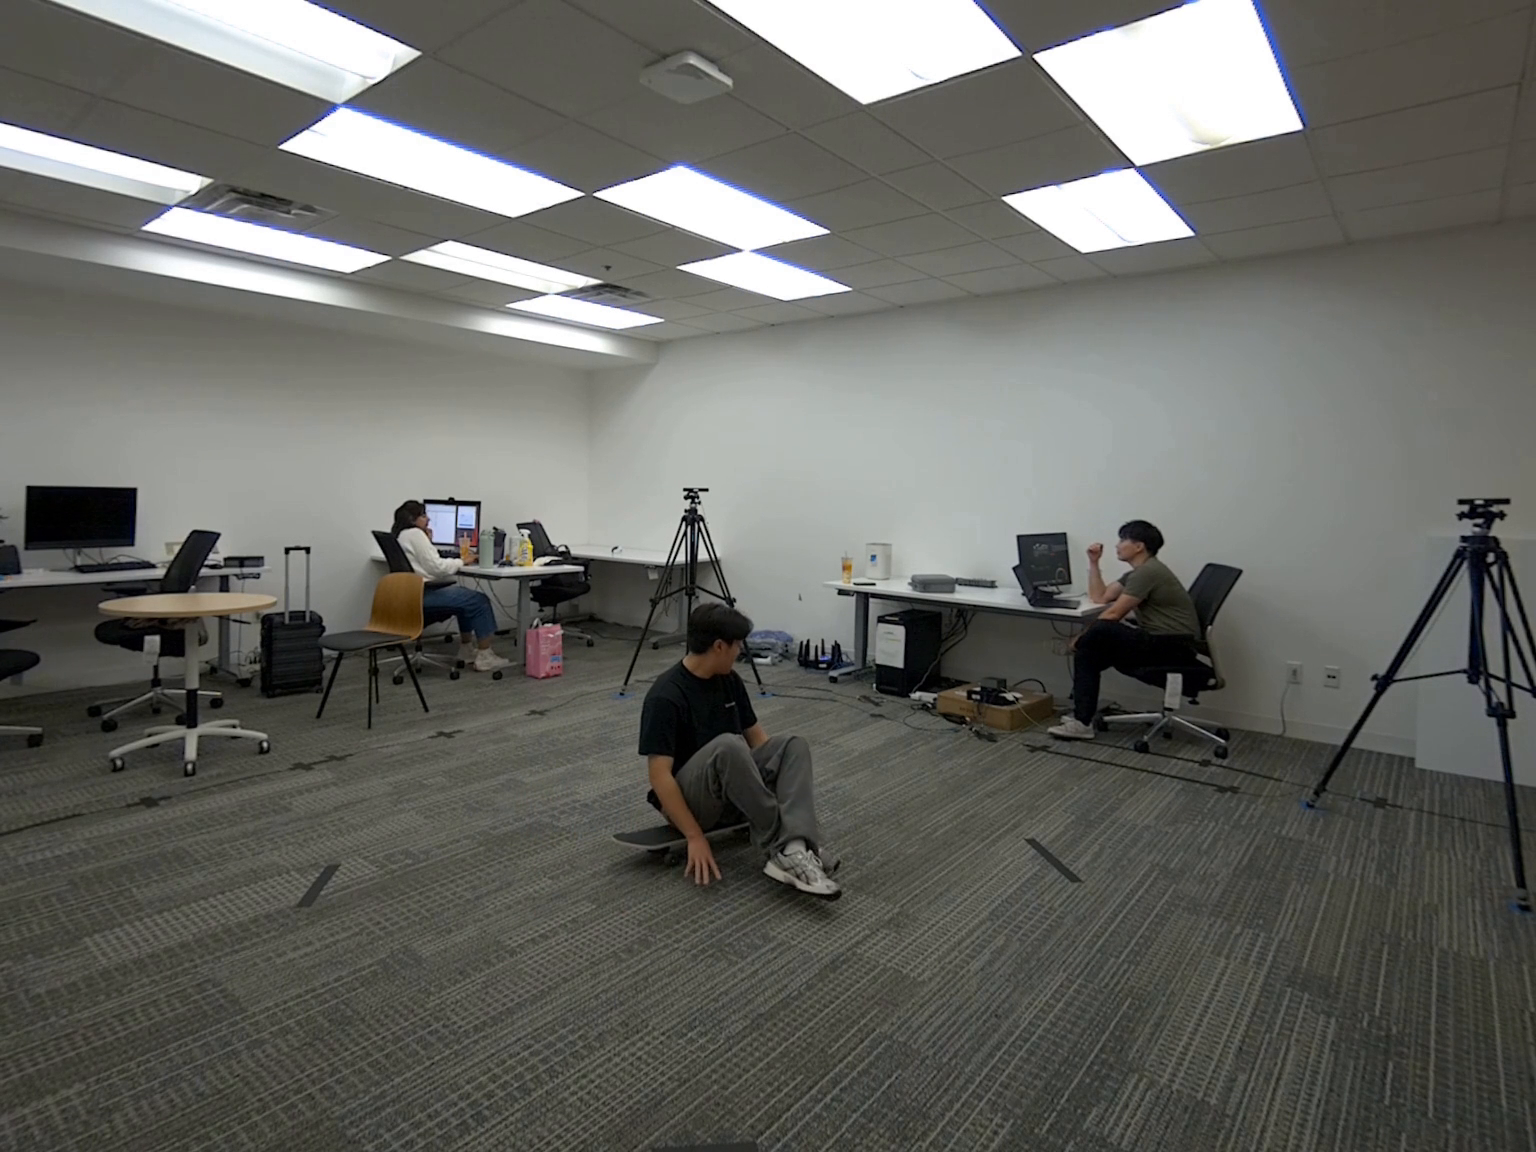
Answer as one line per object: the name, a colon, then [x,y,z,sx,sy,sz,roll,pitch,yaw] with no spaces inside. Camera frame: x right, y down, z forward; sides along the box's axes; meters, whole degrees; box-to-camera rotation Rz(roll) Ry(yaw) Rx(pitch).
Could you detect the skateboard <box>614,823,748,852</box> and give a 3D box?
skateboard: [-0.253,0.997,3.316,0.763,0.110,0.199,-3,0,-36]
